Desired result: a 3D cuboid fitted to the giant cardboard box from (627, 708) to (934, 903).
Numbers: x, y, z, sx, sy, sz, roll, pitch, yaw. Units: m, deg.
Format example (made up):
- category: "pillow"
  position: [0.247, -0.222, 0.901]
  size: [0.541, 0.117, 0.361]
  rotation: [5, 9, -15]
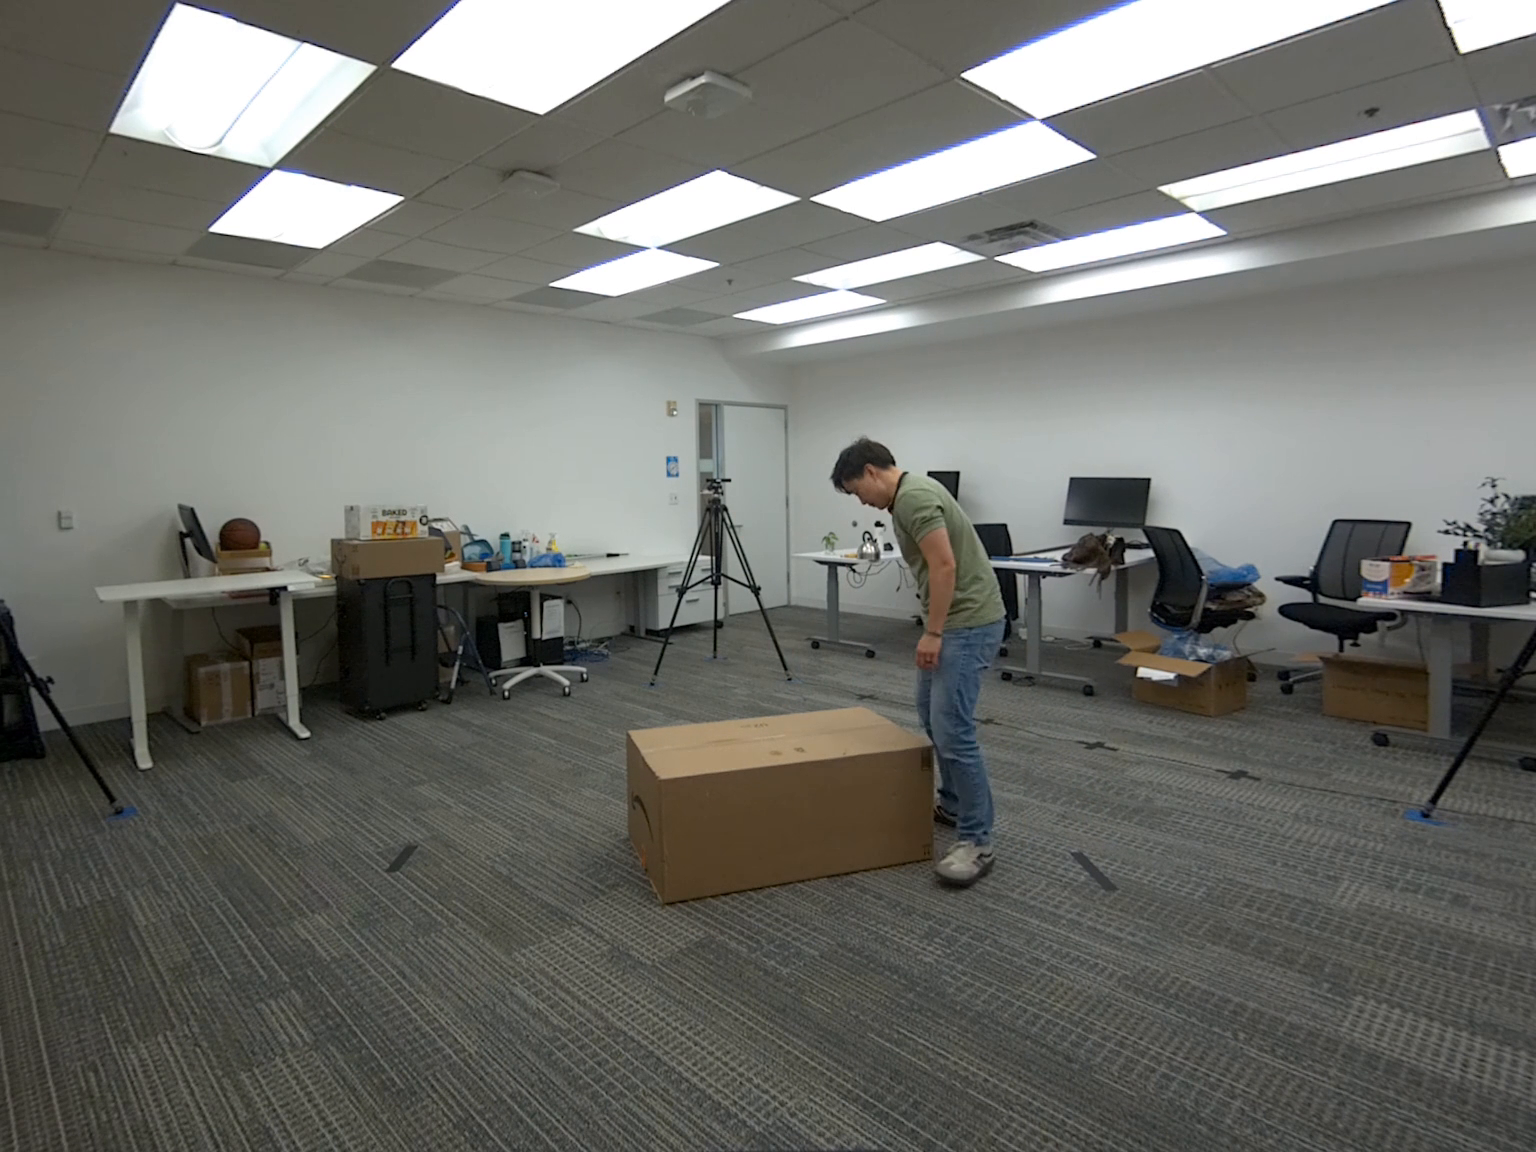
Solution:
- category: "giant cardboard box"
  position: [0.025, 0.816, 3.215]
  size: [1.009, 0.424, 0.589]
  rotation: [-3, 6, -18]
